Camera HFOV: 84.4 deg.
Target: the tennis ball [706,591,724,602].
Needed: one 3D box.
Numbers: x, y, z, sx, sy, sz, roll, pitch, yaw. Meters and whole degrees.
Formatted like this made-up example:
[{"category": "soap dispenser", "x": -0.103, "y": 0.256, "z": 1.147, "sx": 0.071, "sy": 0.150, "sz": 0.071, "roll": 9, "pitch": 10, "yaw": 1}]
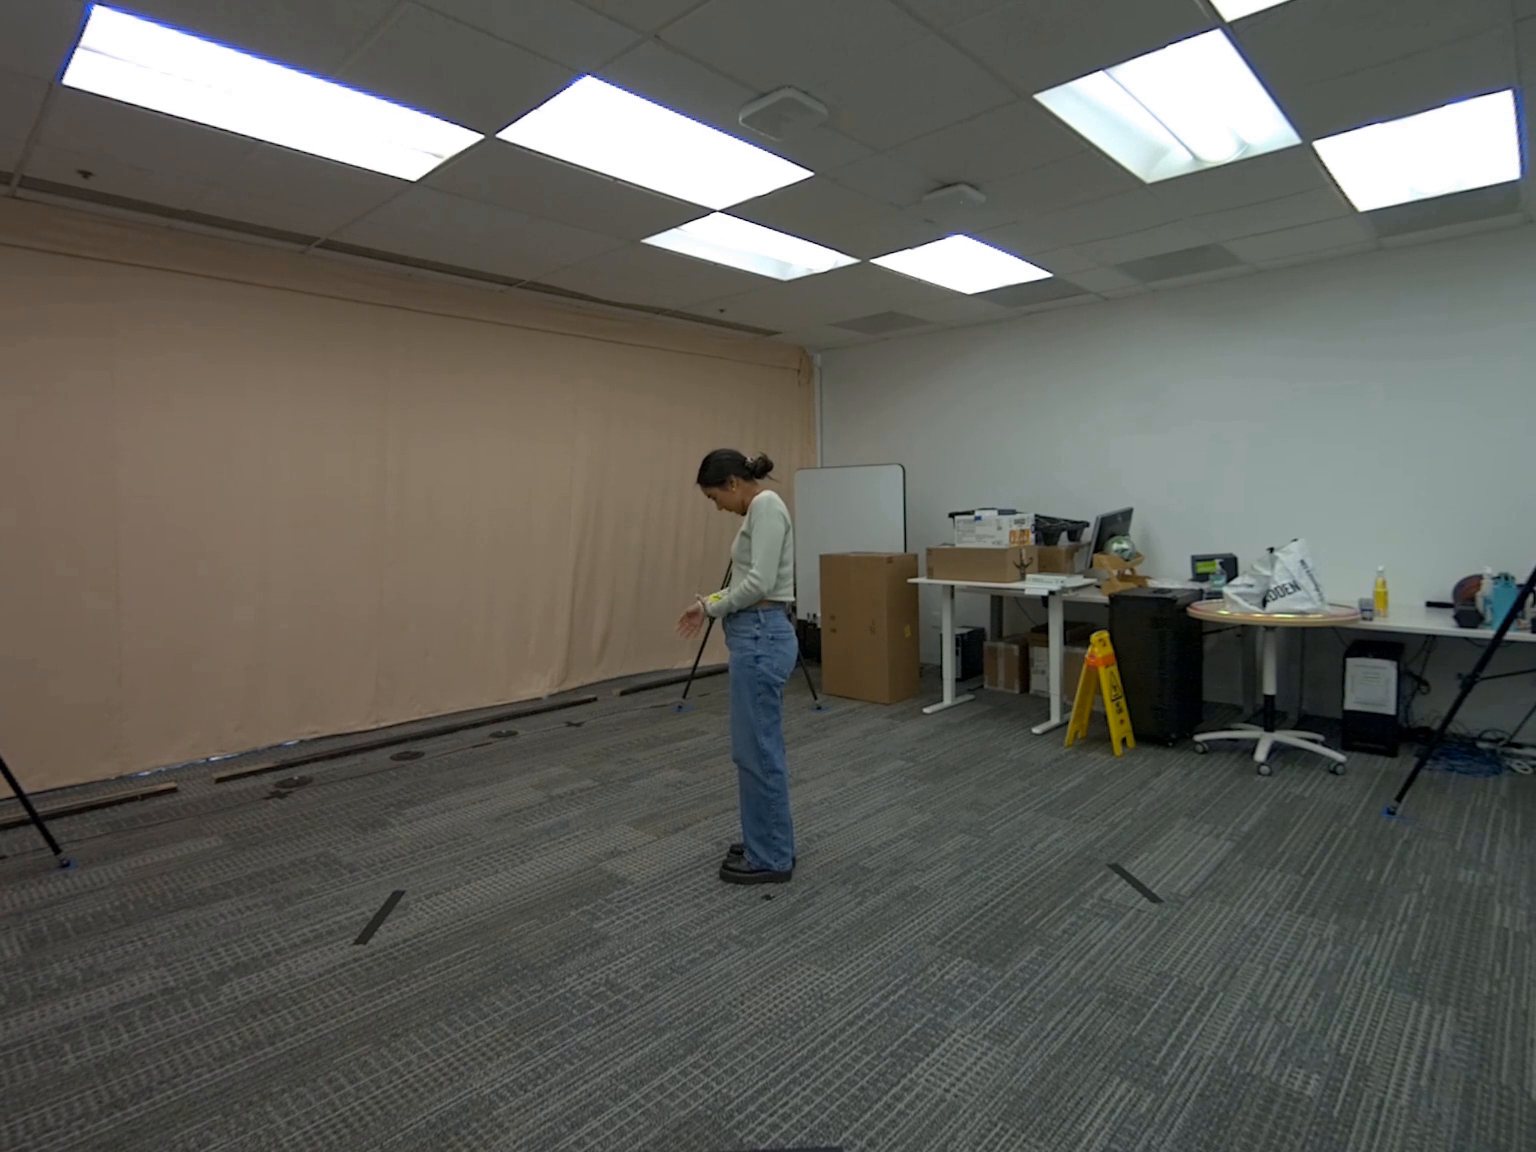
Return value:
[{"category": "tennis ball", "x": -0.187, "y": 0.093, "z": 3.161, "sx": 0.066, "sy": 0.066, "sz": 0.067, "roll": -1, "pitch": 4, "yaw": -2}]
